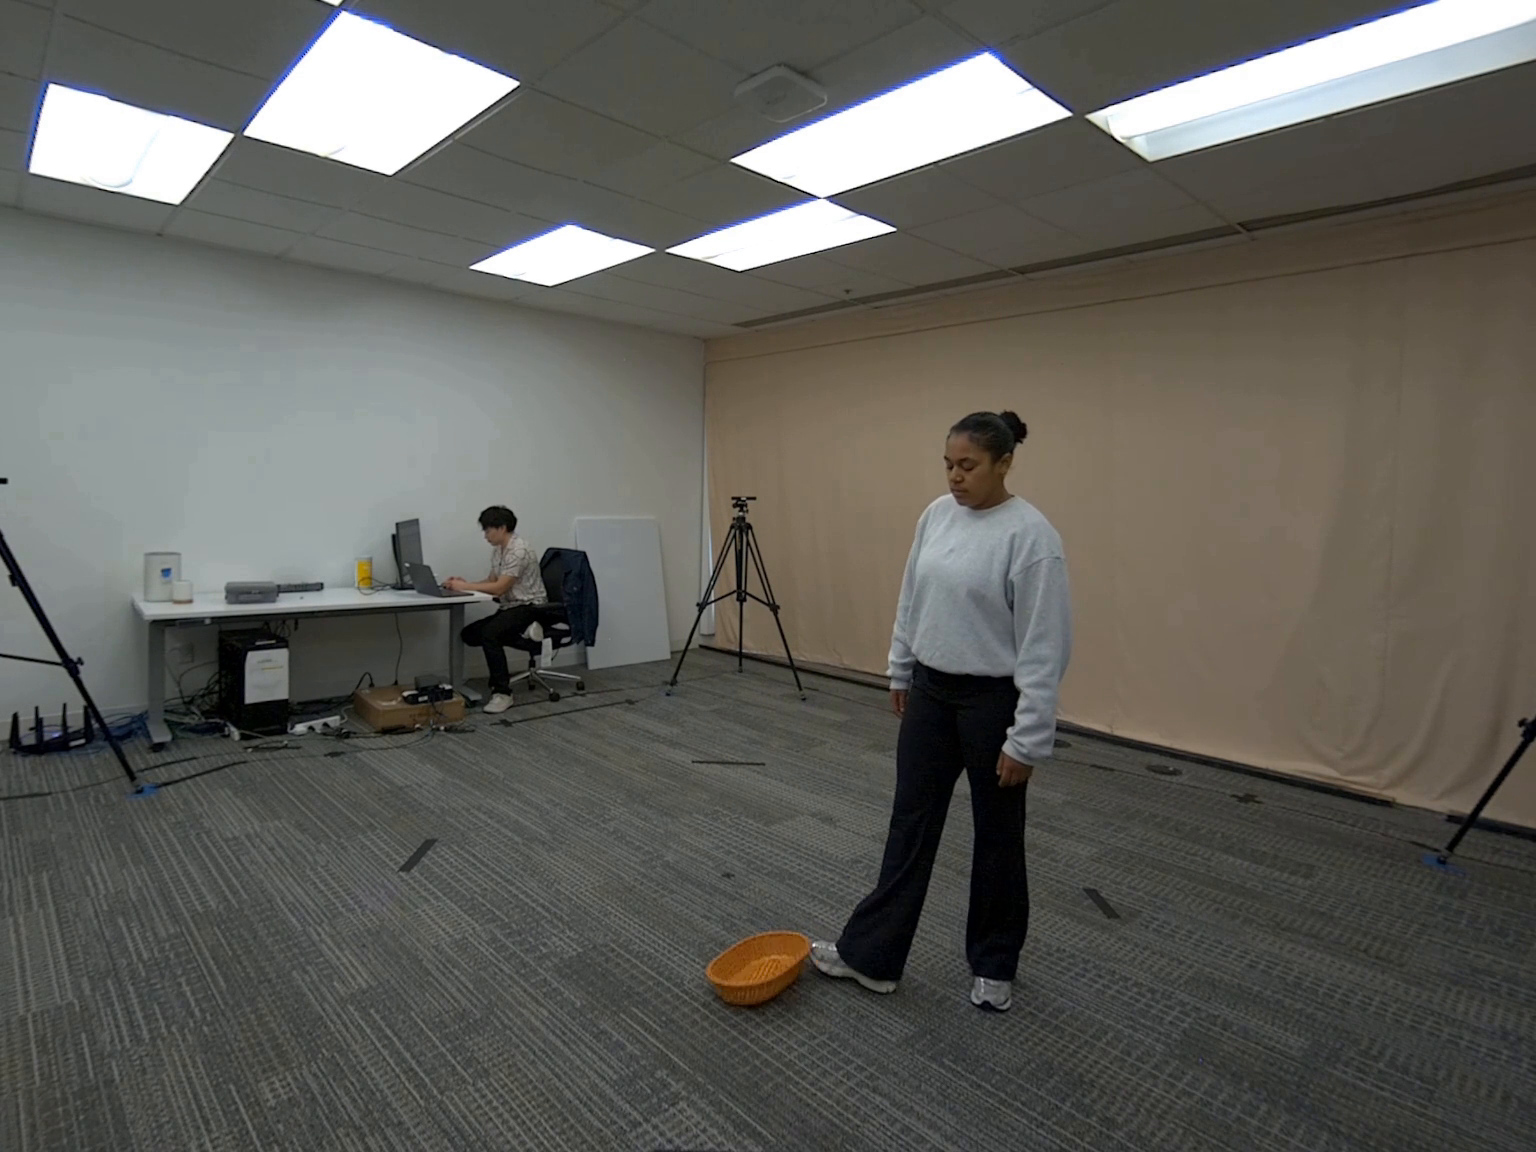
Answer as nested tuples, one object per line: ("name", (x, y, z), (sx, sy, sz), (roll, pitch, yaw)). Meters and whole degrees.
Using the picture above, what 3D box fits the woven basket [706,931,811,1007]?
("woven basket", (-0.016, 1.120, 2.409), (0.257, 0.073, 0.343), (-8, -1, 37))
